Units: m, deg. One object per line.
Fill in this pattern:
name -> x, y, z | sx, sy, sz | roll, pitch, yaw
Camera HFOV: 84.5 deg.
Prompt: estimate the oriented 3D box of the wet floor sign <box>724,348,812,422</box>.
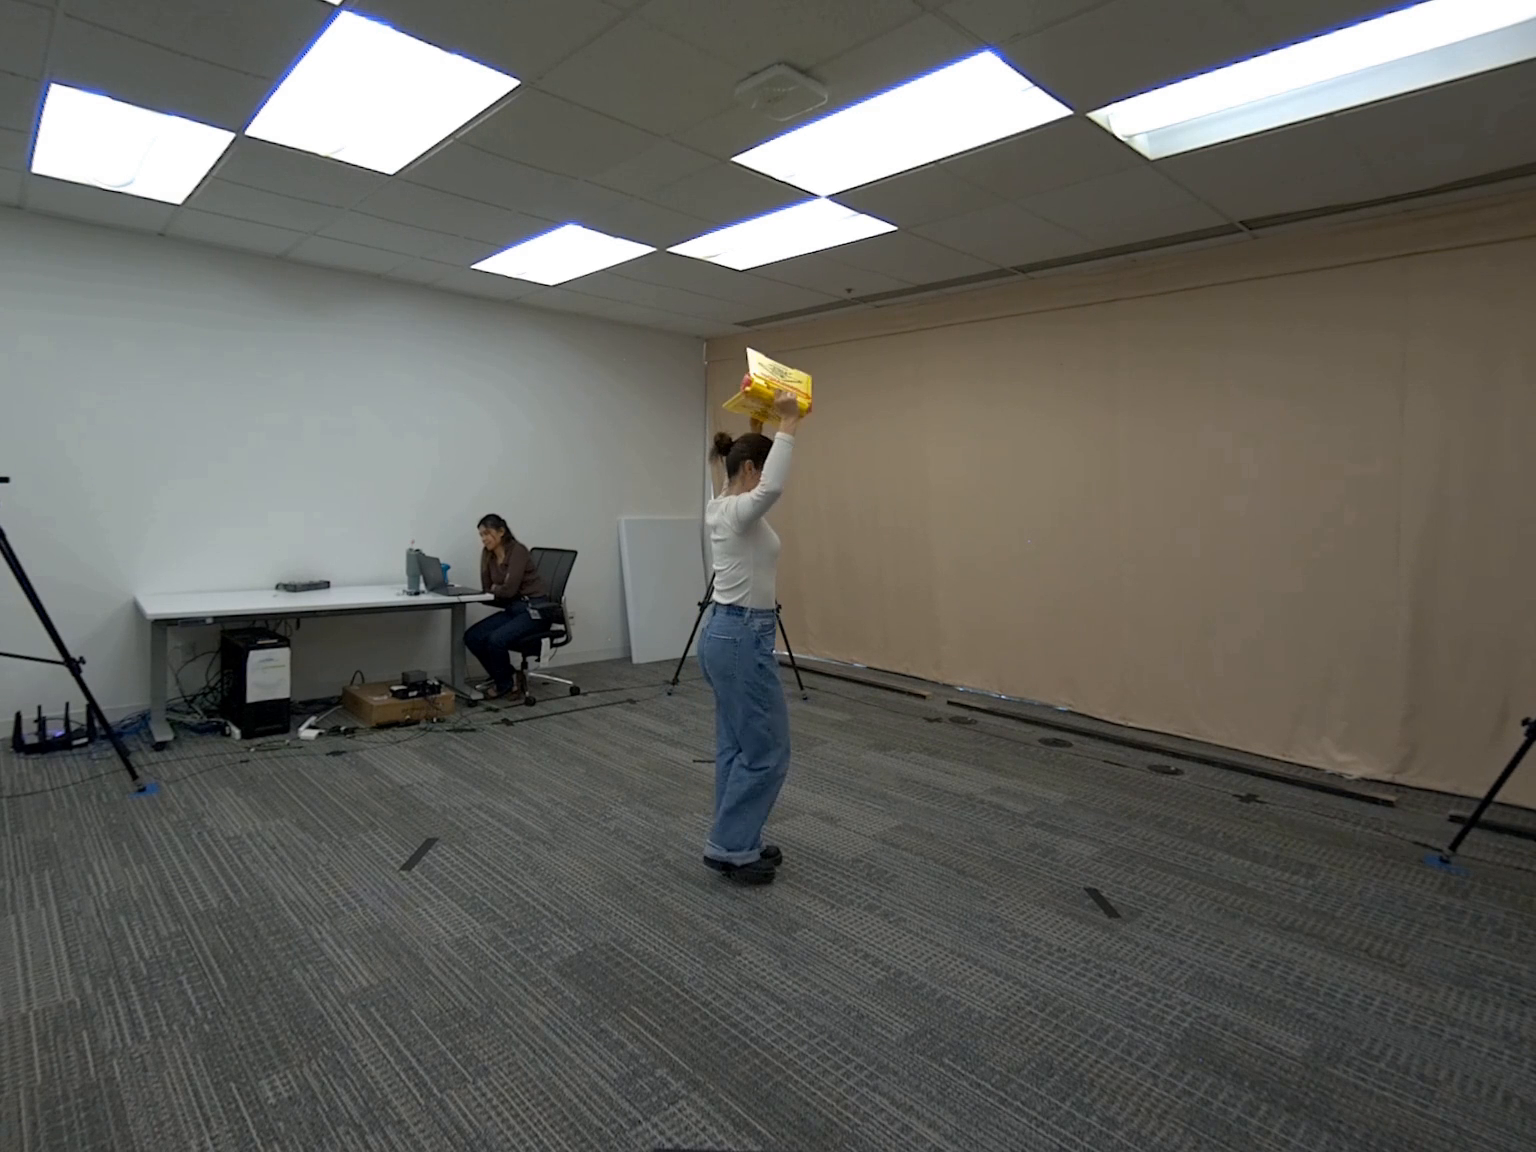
wet floor sign -> 0.010, -0.659, 3.031 | 0.280, 0.289, 0.653 | 23, 10, -9
